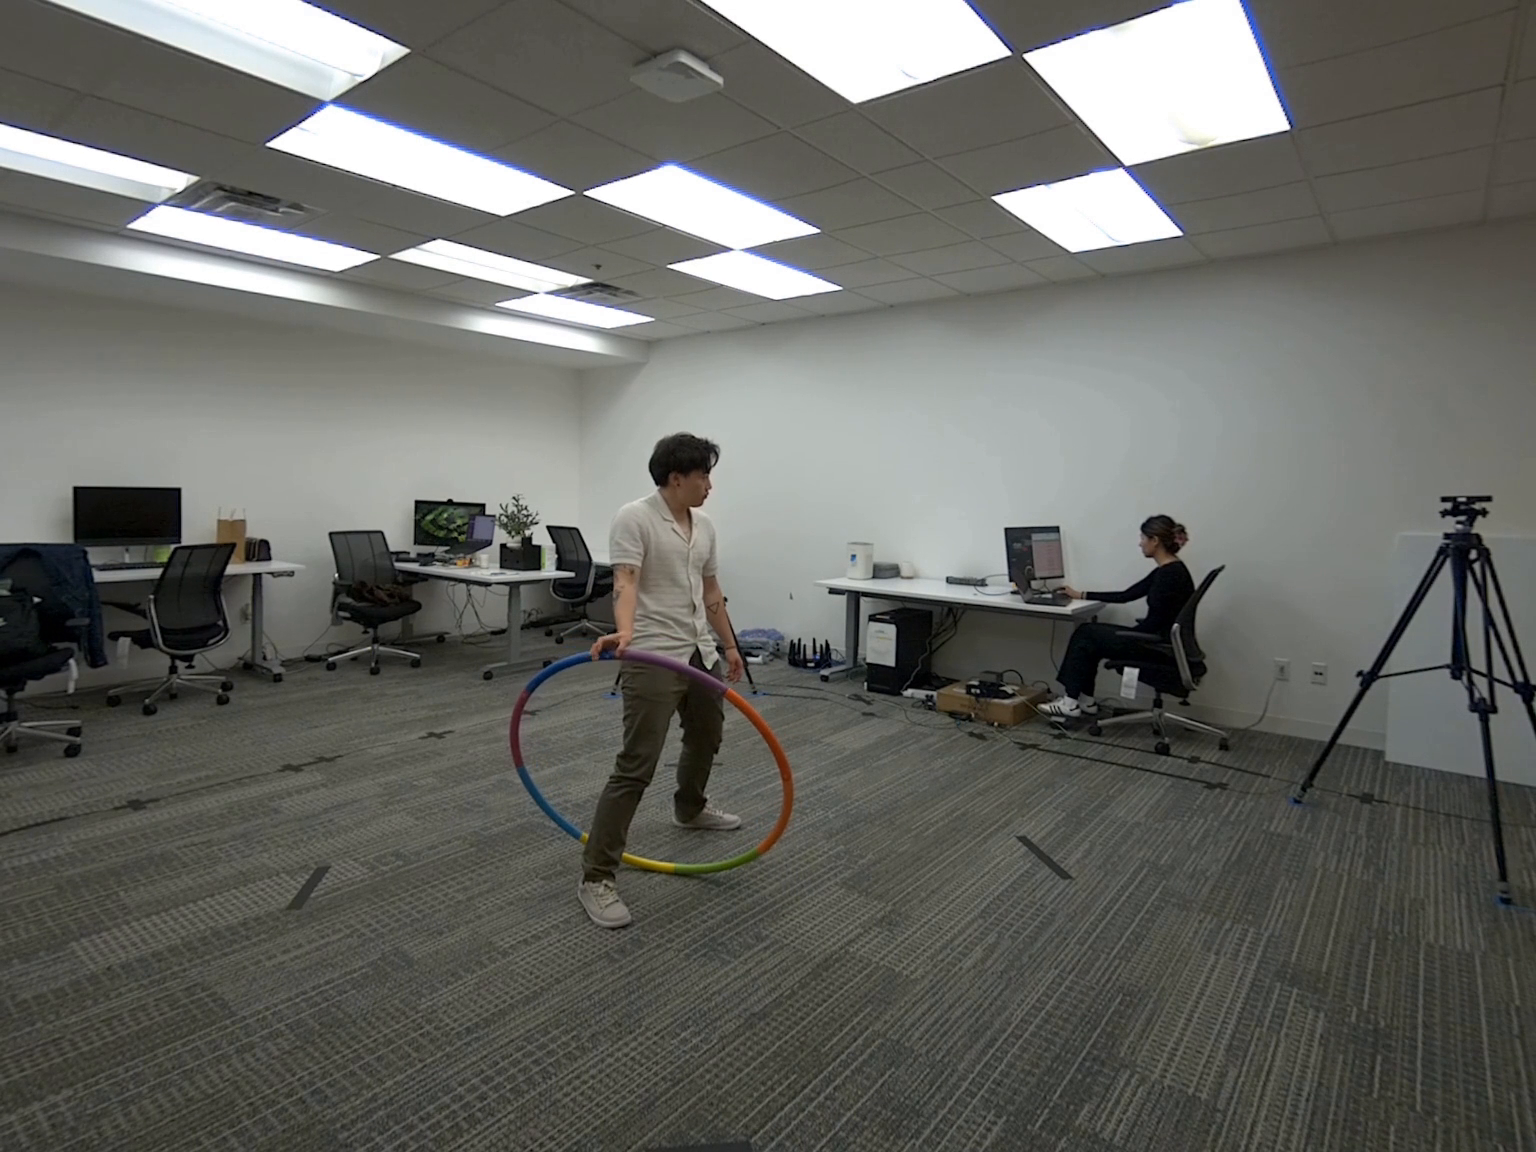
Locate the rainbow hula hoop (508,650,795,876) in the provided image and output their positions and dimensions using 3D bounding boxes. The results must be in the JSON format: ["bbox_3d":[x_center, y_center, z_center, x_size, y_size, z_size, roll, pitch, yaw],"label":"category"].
[{"bbox_3d":[-0.414,0.646,2.861,0.995,0.952,0.036,3,30,15],"label":"rainbow hula hoop"}]
